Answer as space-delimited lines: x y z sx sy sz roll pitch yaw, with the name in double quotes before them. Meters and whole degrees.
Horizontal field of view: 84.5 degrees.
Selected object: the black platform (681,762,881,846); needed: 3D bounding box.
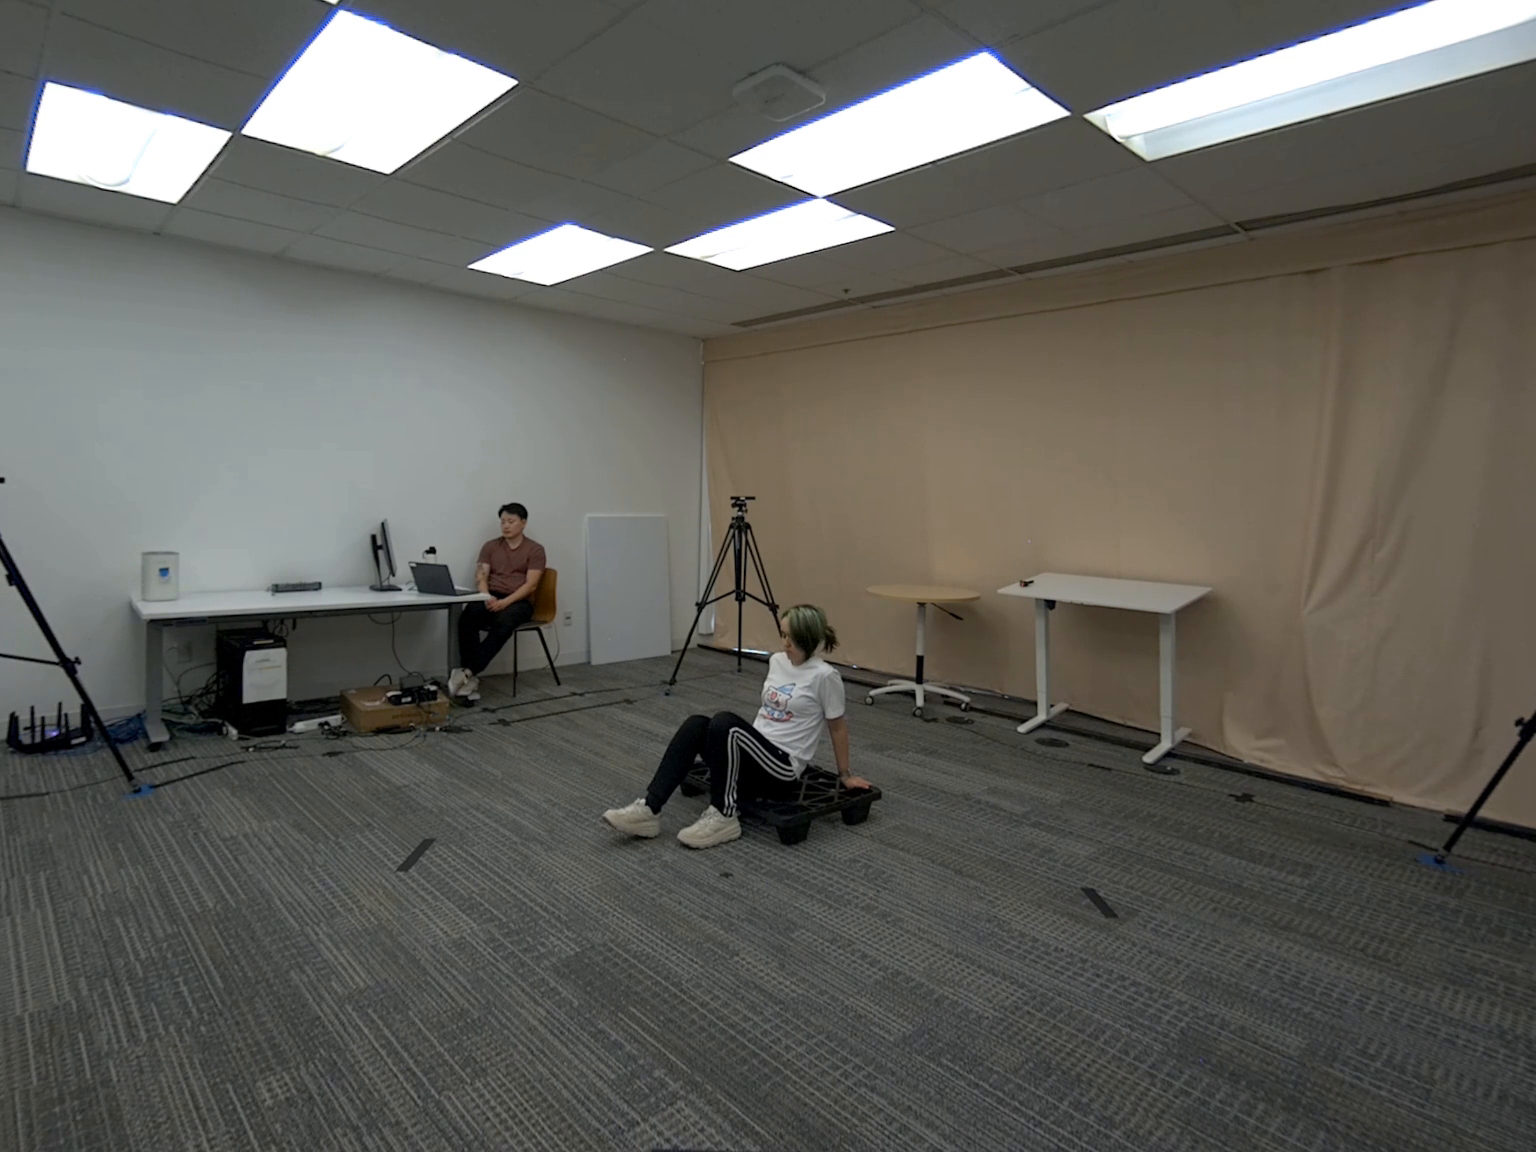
"black platform" 0.010 0.980 3.801 0.592 0.143 0.826 -3 6 -39
